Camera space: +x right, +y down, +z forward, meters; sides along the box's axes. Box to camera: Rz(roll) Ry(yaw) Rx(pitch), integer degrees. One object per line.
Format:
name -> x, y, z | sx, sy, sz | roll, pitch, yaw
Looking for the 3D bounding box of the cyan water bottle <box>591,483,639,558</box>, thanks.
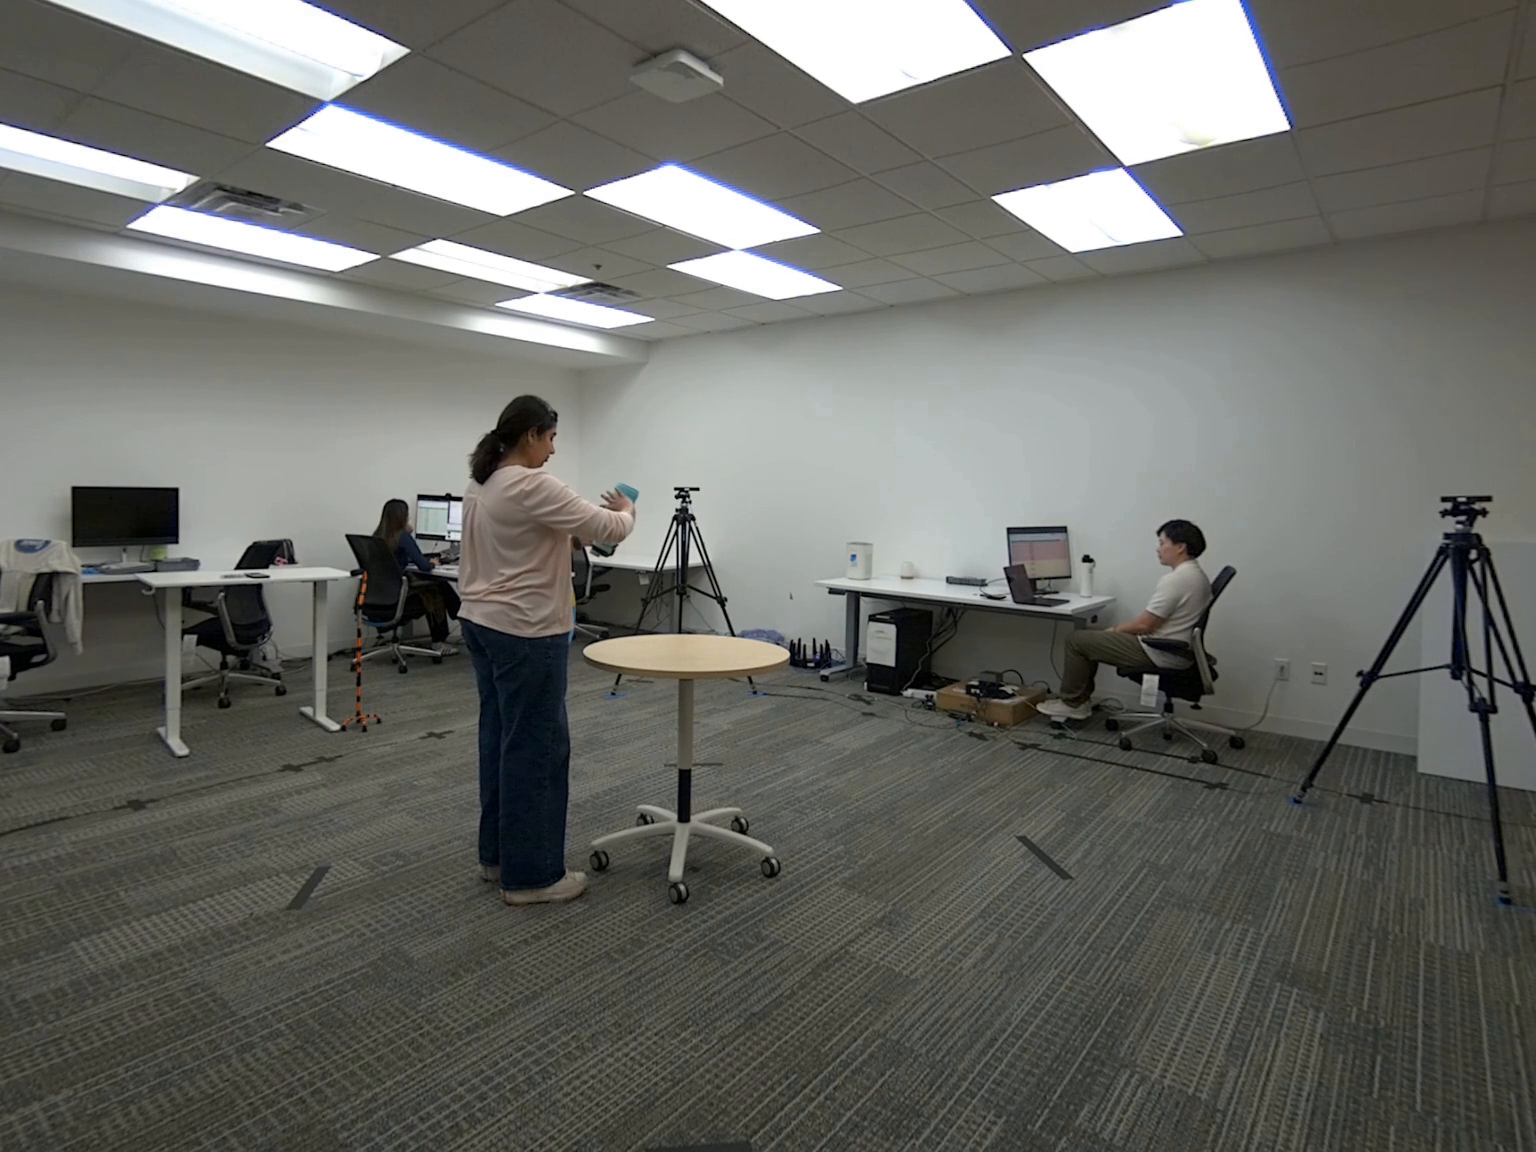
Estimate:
cyan water bottle -> -0.588, -0.201, 3.138 | 0.092, 0.284, 0.092 | 20, -7, 0
